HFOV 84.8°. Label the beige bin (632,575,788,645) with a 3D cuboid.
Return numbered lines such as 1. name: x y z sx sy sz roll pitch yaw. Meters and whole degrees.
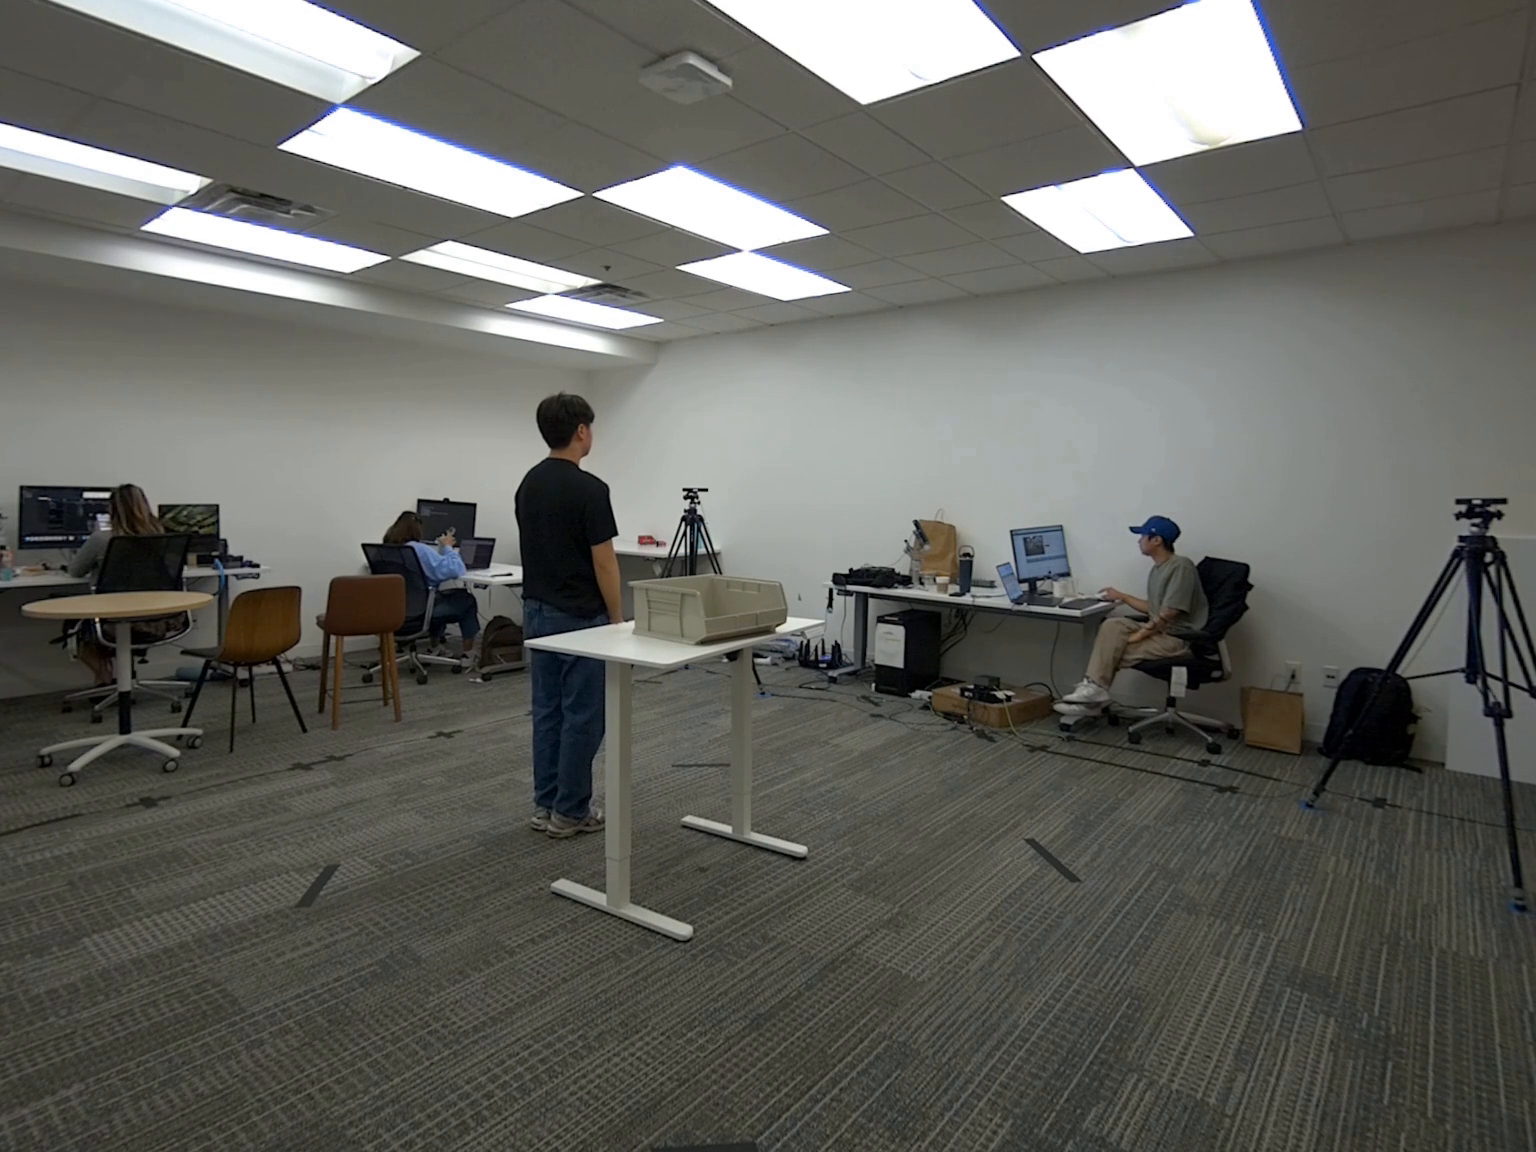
1. beige bin: -0.215 0.109 2.981 0.390 0.188 0.410 3 6 42
